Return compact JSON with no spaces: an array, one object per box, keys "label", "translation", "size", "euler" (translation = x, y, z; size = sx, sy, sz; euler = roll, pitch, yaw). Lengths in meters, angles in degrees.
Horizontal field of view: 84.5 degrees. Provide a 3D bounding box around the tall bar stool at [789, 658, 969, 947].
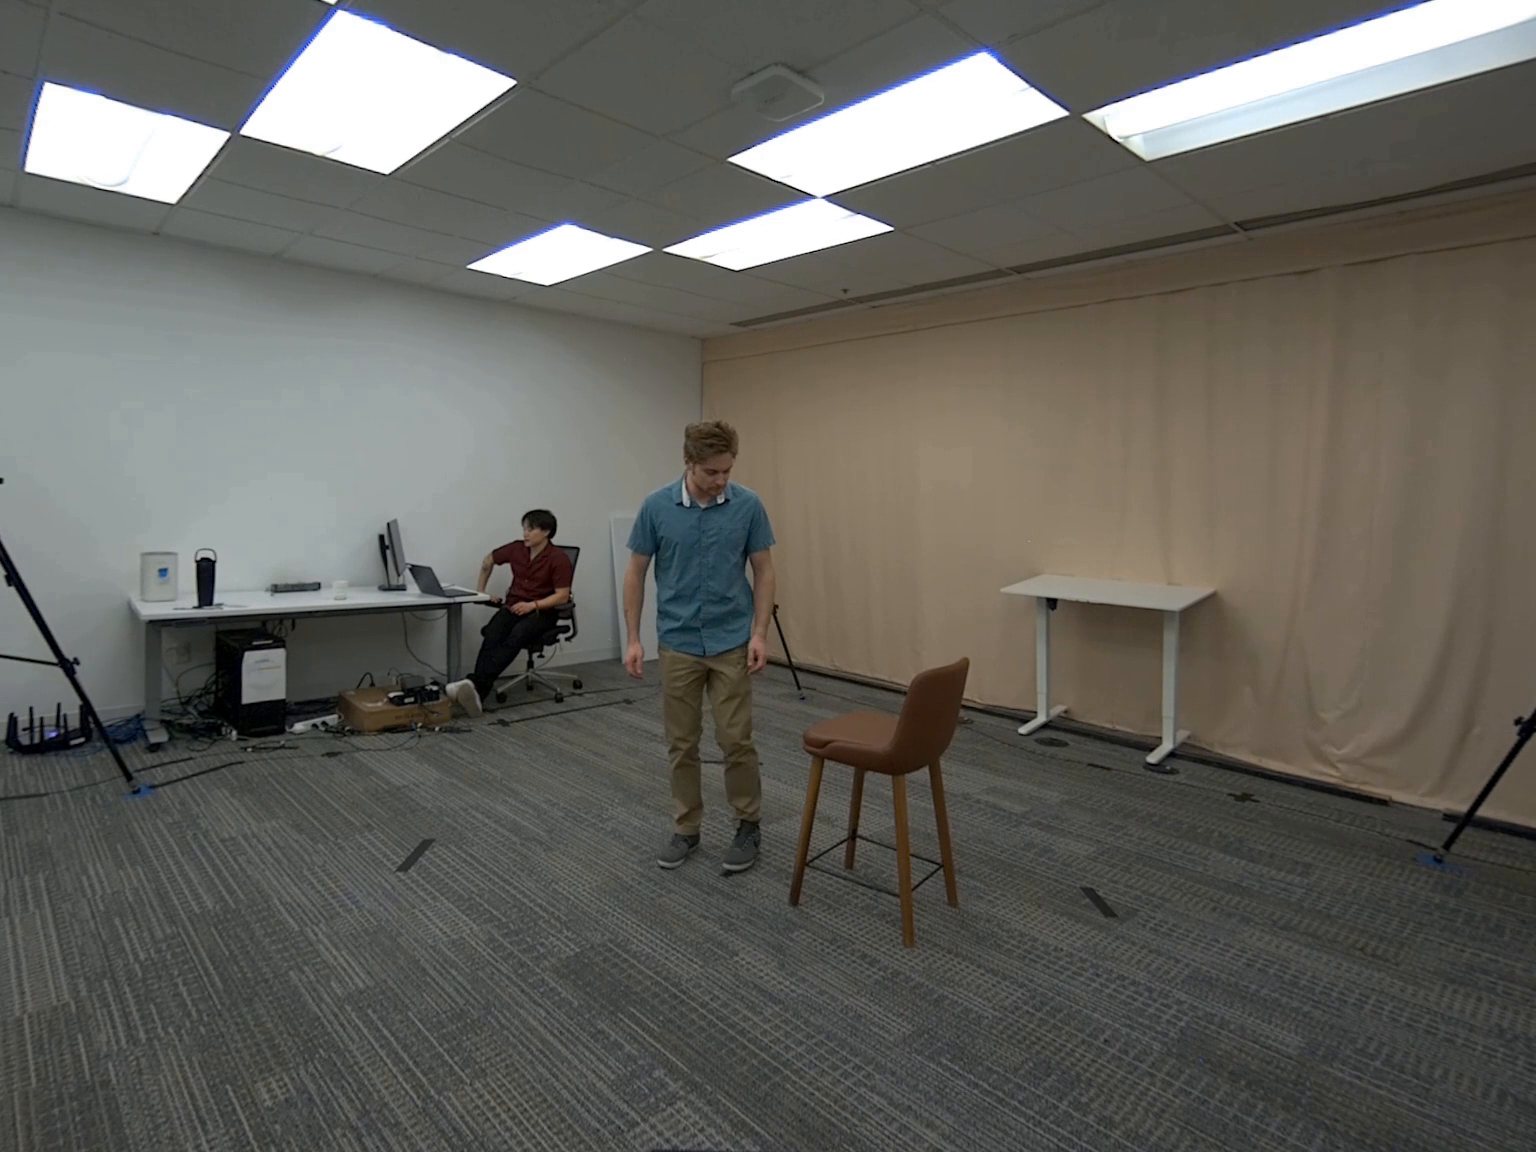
[{"label":"tall bar stool","translation":[0.380,0.703,2.873],"size":[0.479,0.886,0.447],"euler":[7,6,36]}]
